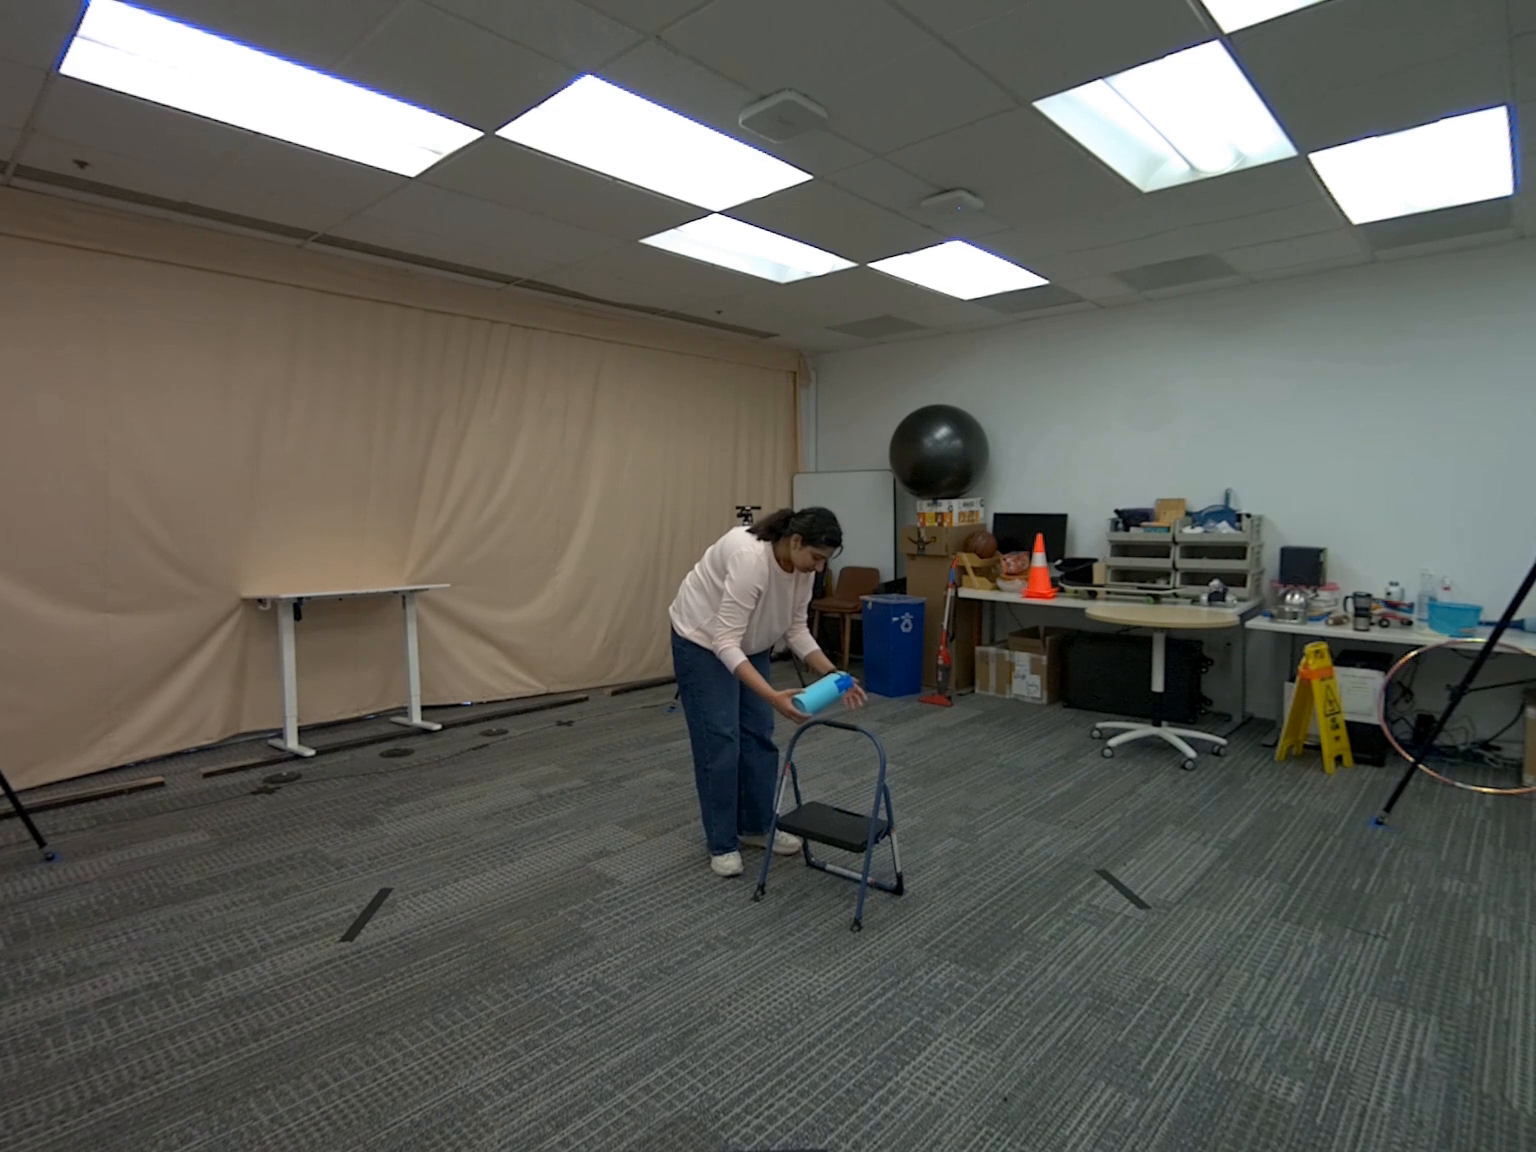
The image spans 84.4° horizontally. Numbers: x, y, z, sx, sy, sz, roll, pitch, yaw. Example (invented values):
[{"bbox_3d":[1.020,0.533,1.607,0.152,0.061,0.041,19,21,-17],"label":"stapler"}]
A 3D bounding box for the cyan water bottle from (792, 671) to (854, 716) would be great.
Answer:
[{"bbox_3d":[0.195,0.416,2.995,0.095,0.091,0.277,3,19,43],"label":"cyan water bottle"}]
